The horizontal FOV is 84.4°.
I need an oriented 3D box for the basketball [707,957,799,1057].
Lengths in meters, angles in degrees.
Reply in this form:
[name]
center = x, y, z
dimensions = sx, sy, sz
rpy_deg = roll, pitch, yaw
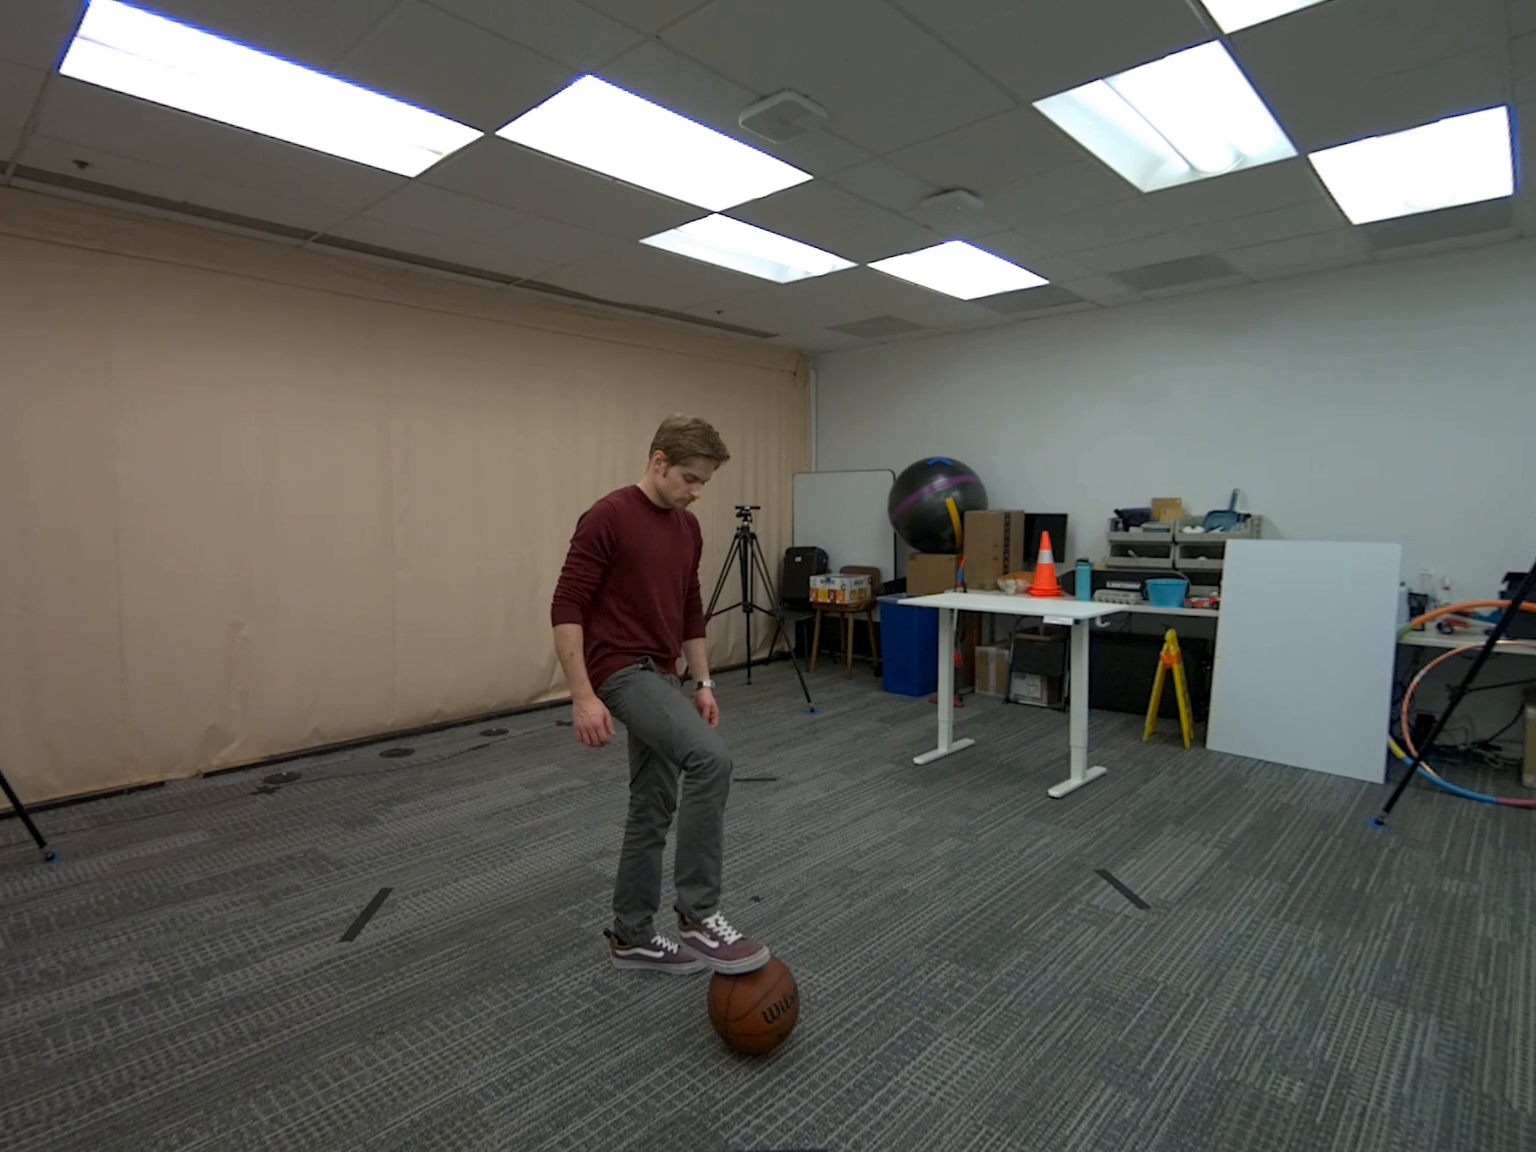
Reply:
[basketball]
center = -0.032, 1.096, 2.170
dimensions = 0.236, 0.235, 0.237
rpy_deg = 0, 4, -2
